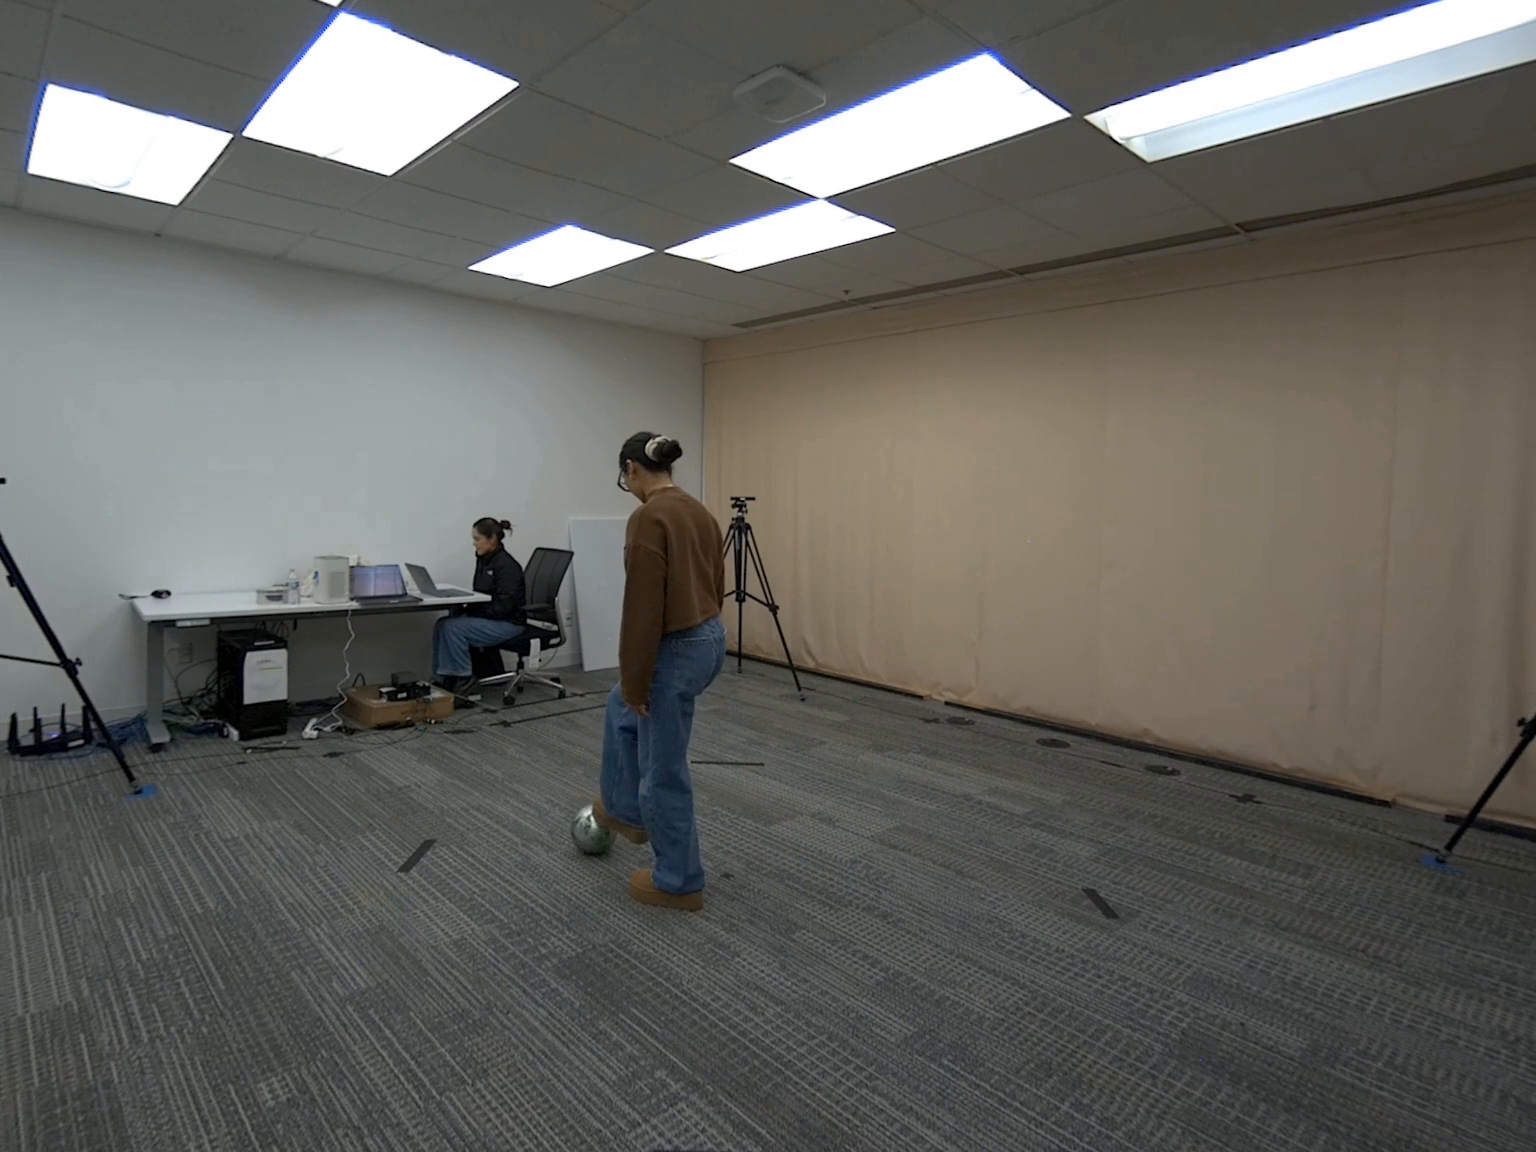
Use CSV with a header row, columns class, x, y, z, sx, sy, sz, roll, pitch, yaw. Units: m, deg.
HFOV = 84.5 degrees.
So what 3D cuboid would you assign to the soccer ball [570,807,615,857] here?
class,x,y,z,sx,sy,sz,roll,pitch,yaw
soccer ball,-0.676,0.987,3.284,0.187,0.187,0.188,1,4,-1
